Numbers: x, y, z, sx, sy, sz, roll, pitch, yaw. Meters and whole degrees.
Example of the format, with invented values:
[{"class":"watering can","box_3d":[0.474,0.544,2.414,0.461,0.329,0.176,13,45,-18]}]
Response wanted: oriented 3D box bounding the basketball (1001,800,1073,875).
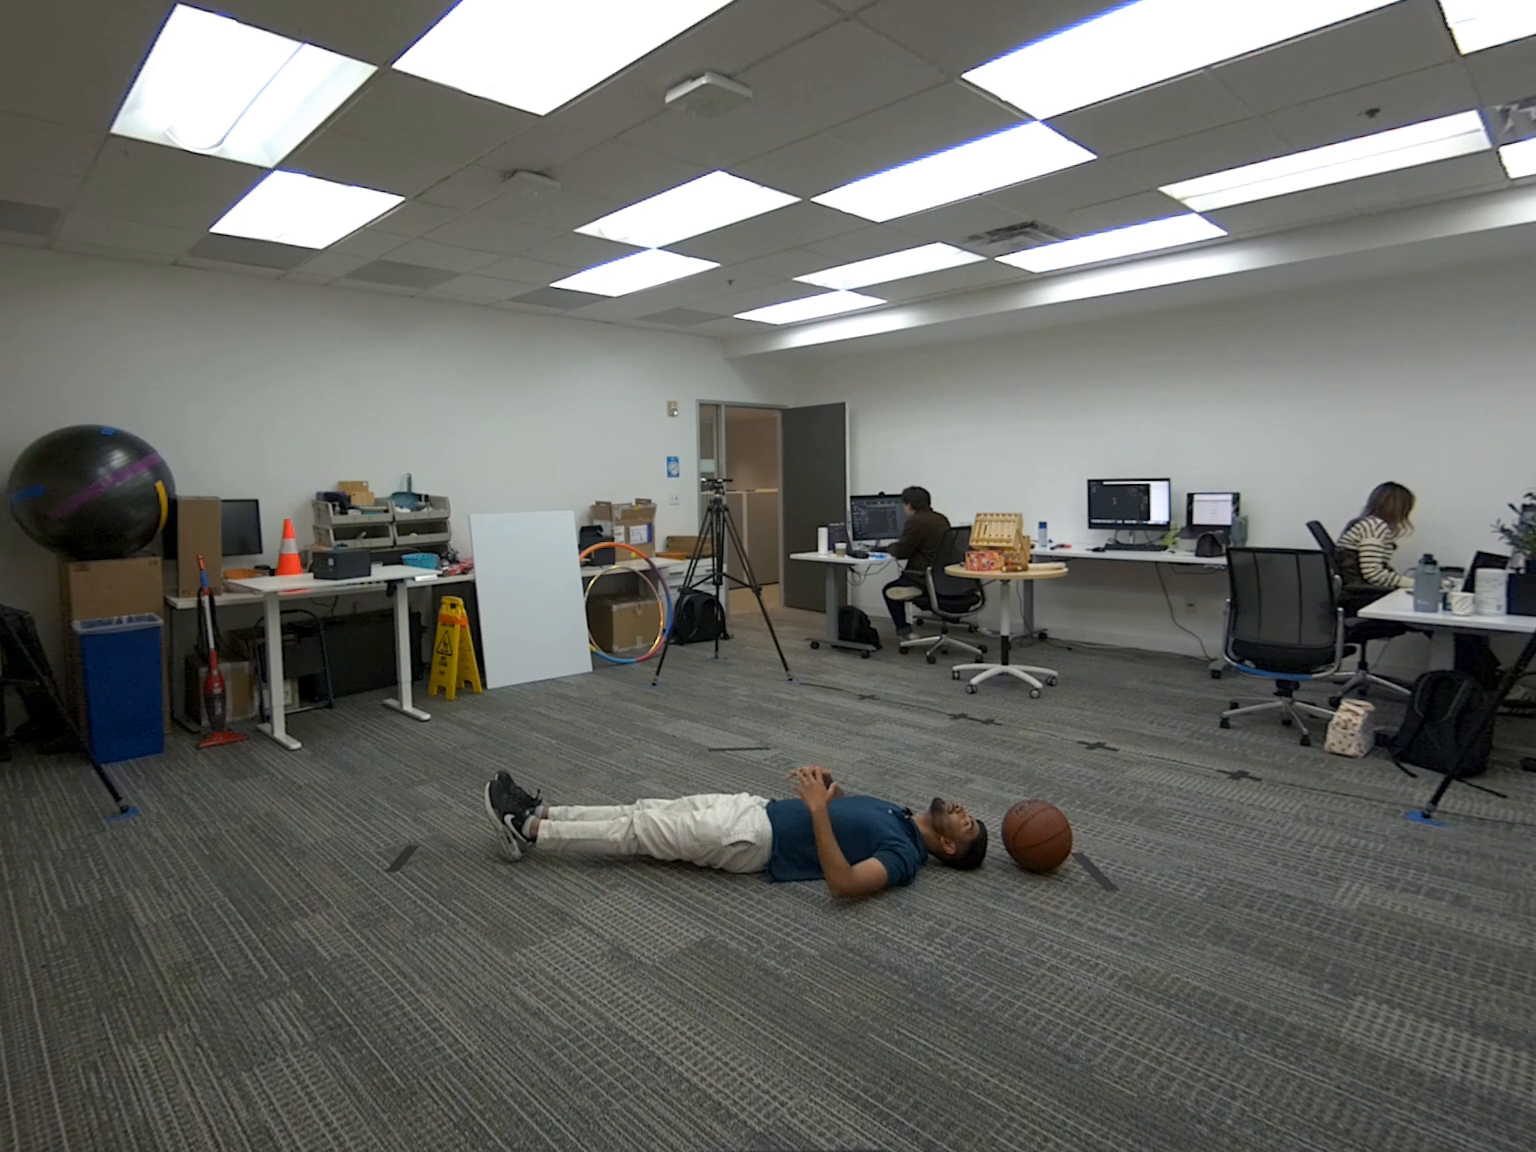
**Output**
[{"class":"basketball","box_3d":[0.956,0.914,3.028,0.236,0.235,0.237,-1,5,-2]}]
